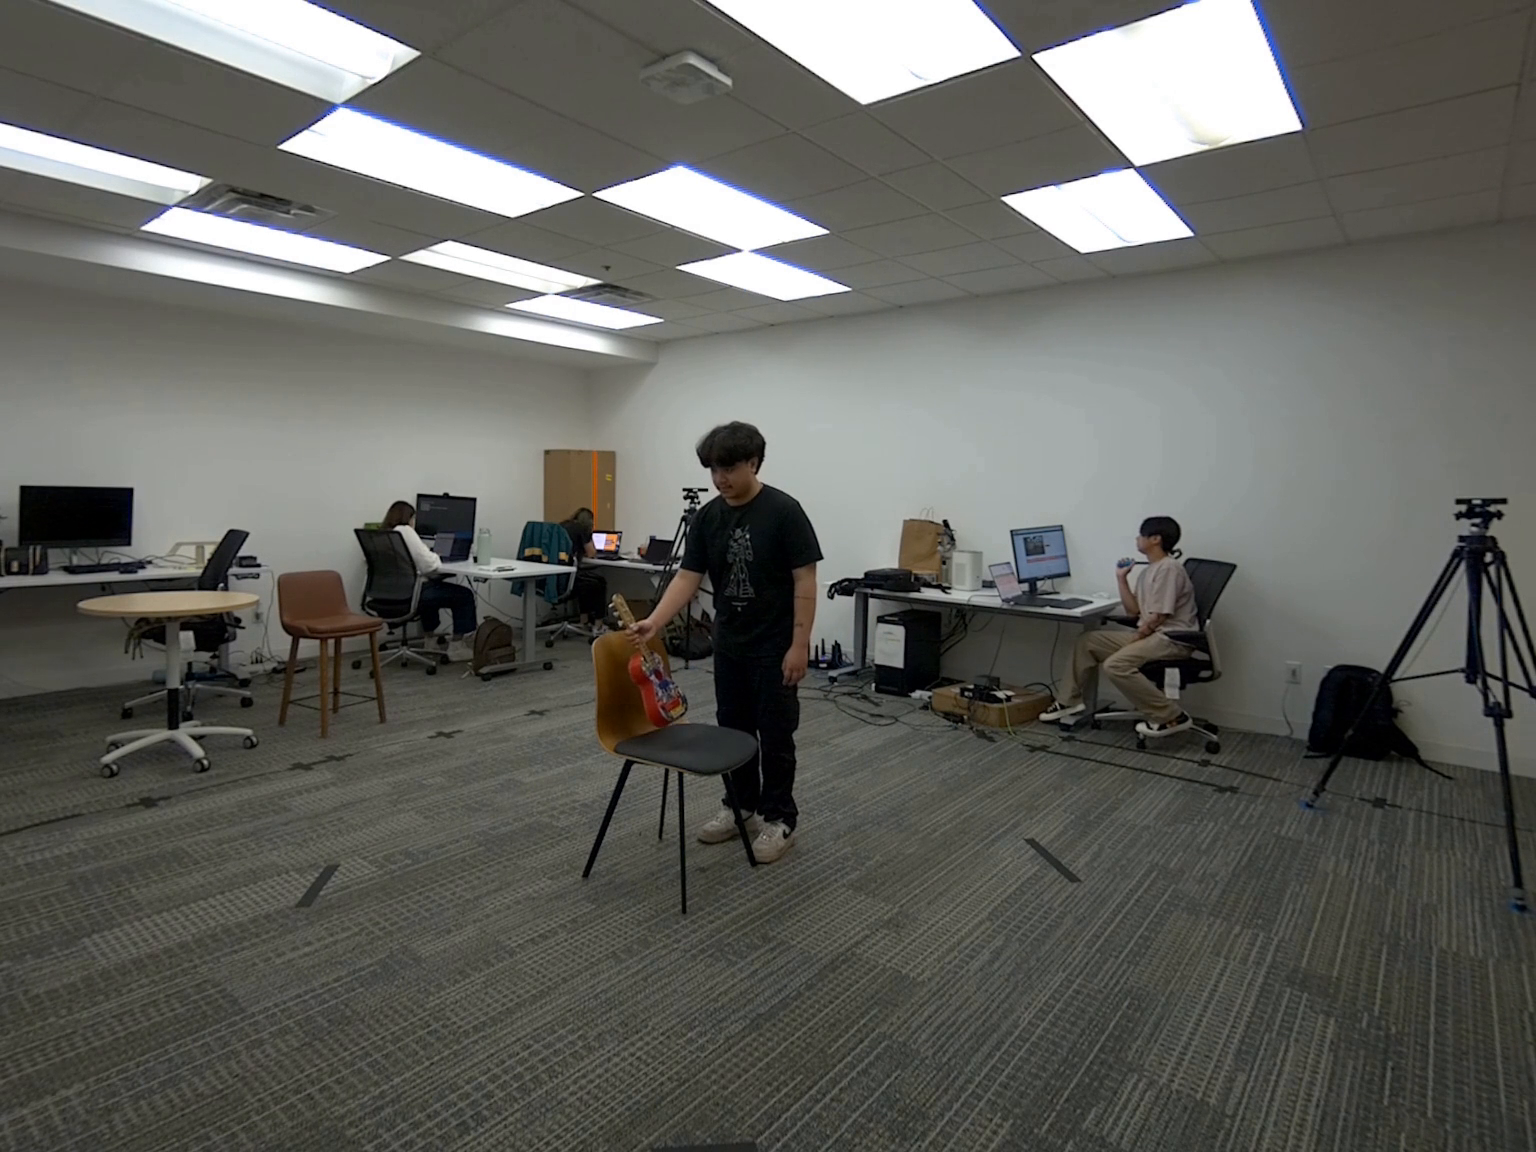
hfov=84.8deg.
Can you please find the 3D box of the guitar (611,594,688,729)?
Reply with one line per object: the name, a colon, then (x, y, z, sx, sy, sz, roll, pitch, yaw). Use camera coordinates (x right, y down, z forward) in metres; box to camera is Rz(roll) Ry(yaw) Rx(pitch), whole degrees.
guitar: (-0.450, 0.295, 3.095, 0.071, 0.506, 0.188, -30, -13, 26)
